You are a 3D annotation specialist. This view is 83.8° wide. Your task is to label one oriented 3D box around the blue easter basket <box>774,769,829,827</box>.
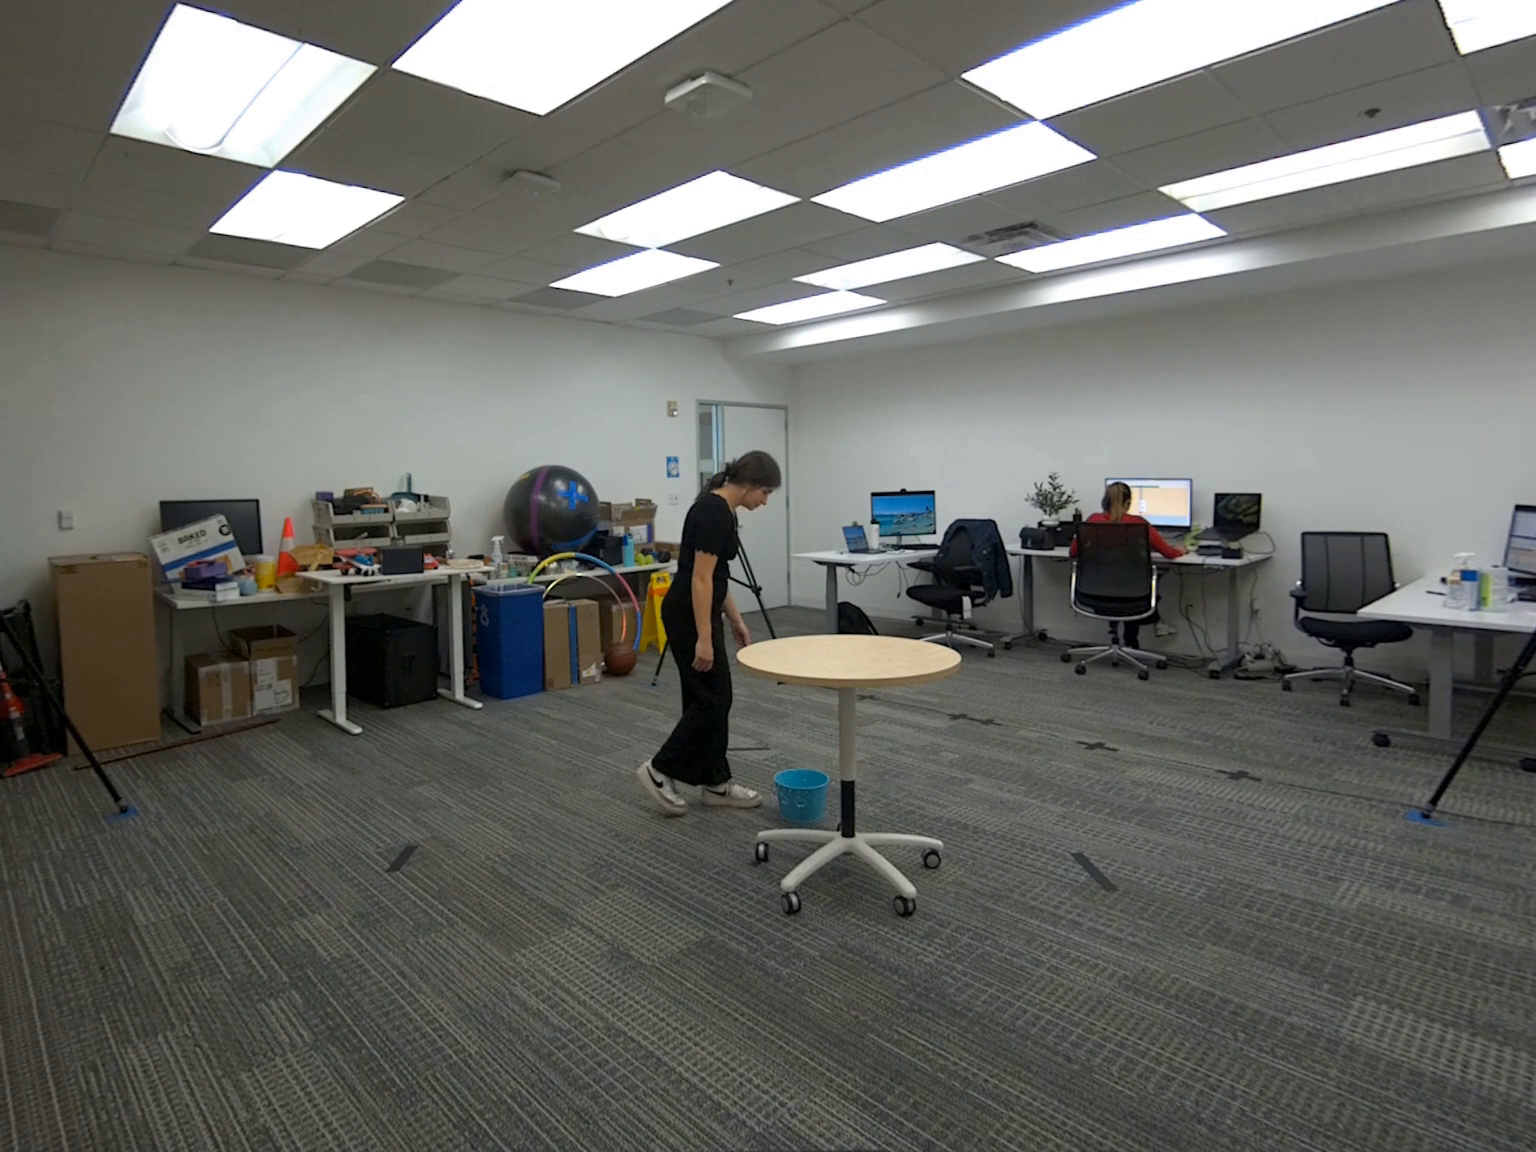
[{"bbox_3d":[0.140,0.915,3.542,0.243,0.155,0.245,-1,6,-2],"label":"blue easter basket"}]
